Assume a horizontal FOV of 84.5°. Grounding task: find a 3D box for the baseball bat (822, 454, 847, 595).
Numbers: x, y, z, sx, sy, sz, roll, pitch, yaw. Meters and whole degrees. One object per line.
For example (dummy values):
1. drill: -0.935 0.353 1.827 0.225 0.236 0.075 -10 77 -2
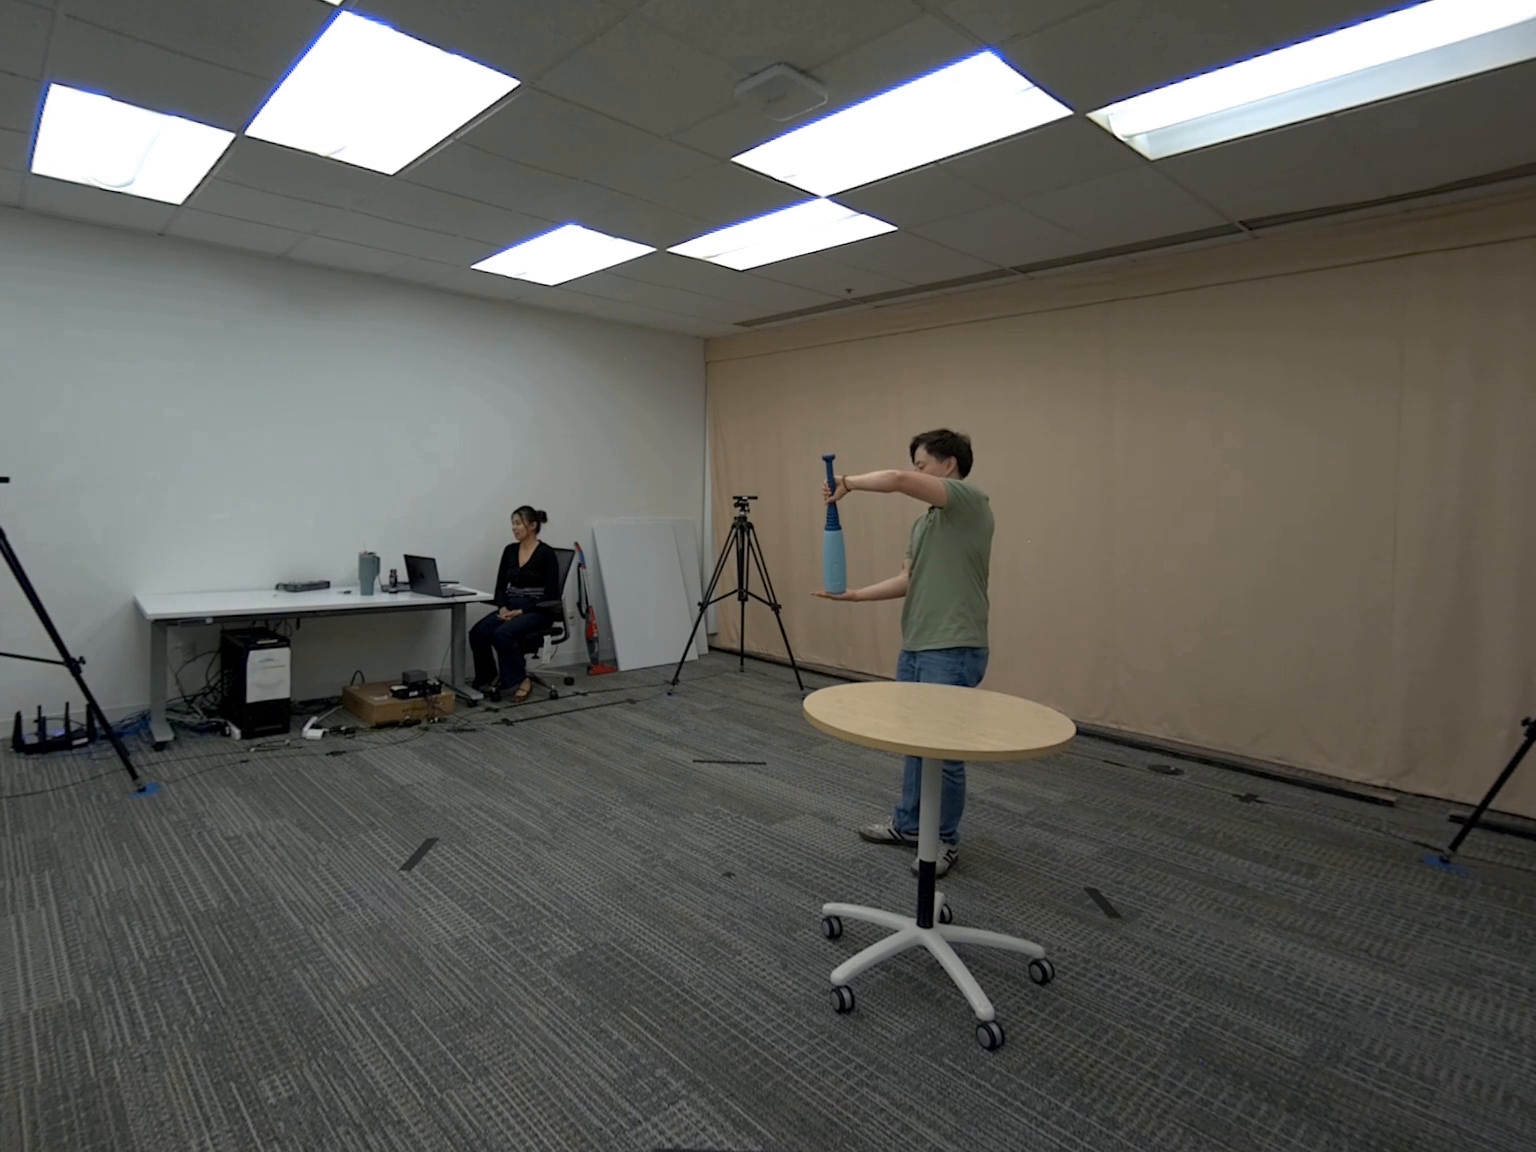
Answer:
1. baseball bat: 0.251 -0.195 3.243 0.089 0.538 0.090 -3 10 -1
